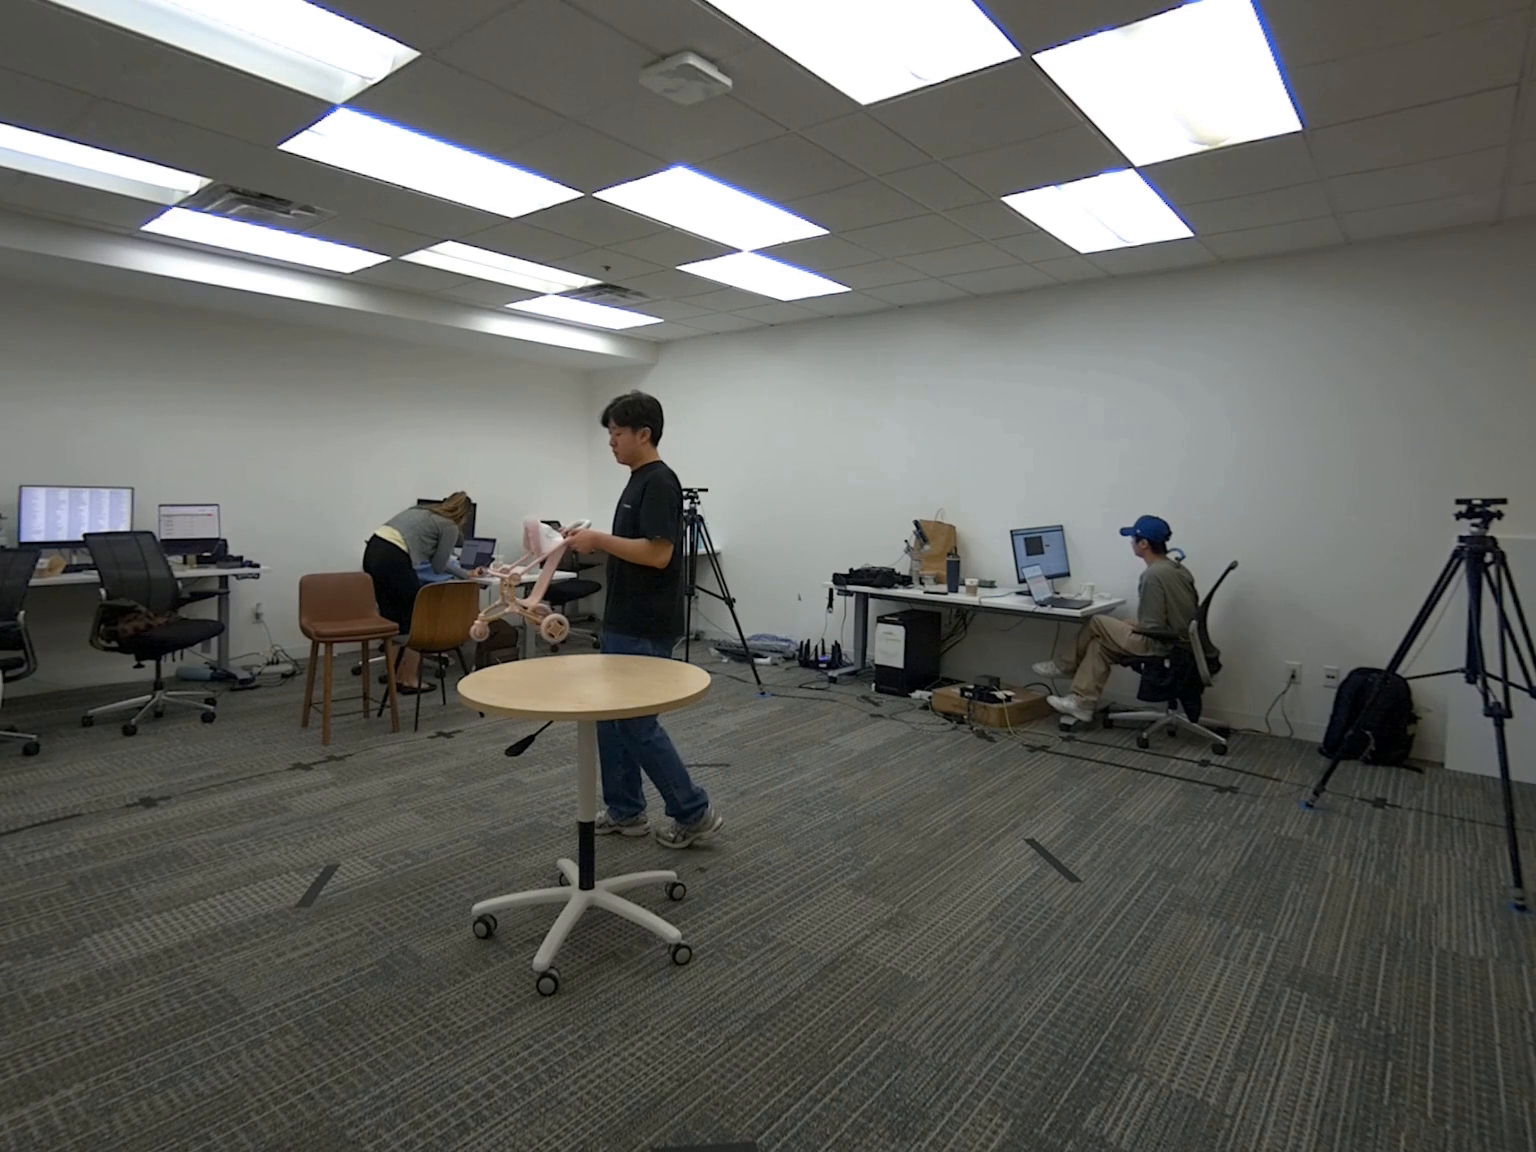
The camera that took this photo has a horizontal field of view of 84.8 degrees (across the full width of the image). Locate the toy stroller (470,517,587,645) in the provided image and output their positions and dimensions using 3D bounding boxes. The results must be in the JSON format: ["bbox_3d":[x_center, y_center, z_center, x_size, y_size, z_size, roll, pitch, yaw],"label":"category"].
[{"bbox_3d":[-0.924,0.005,3.230,0.333,0.535,0.288,13,0,-21],"label":"toy stroller"}]
